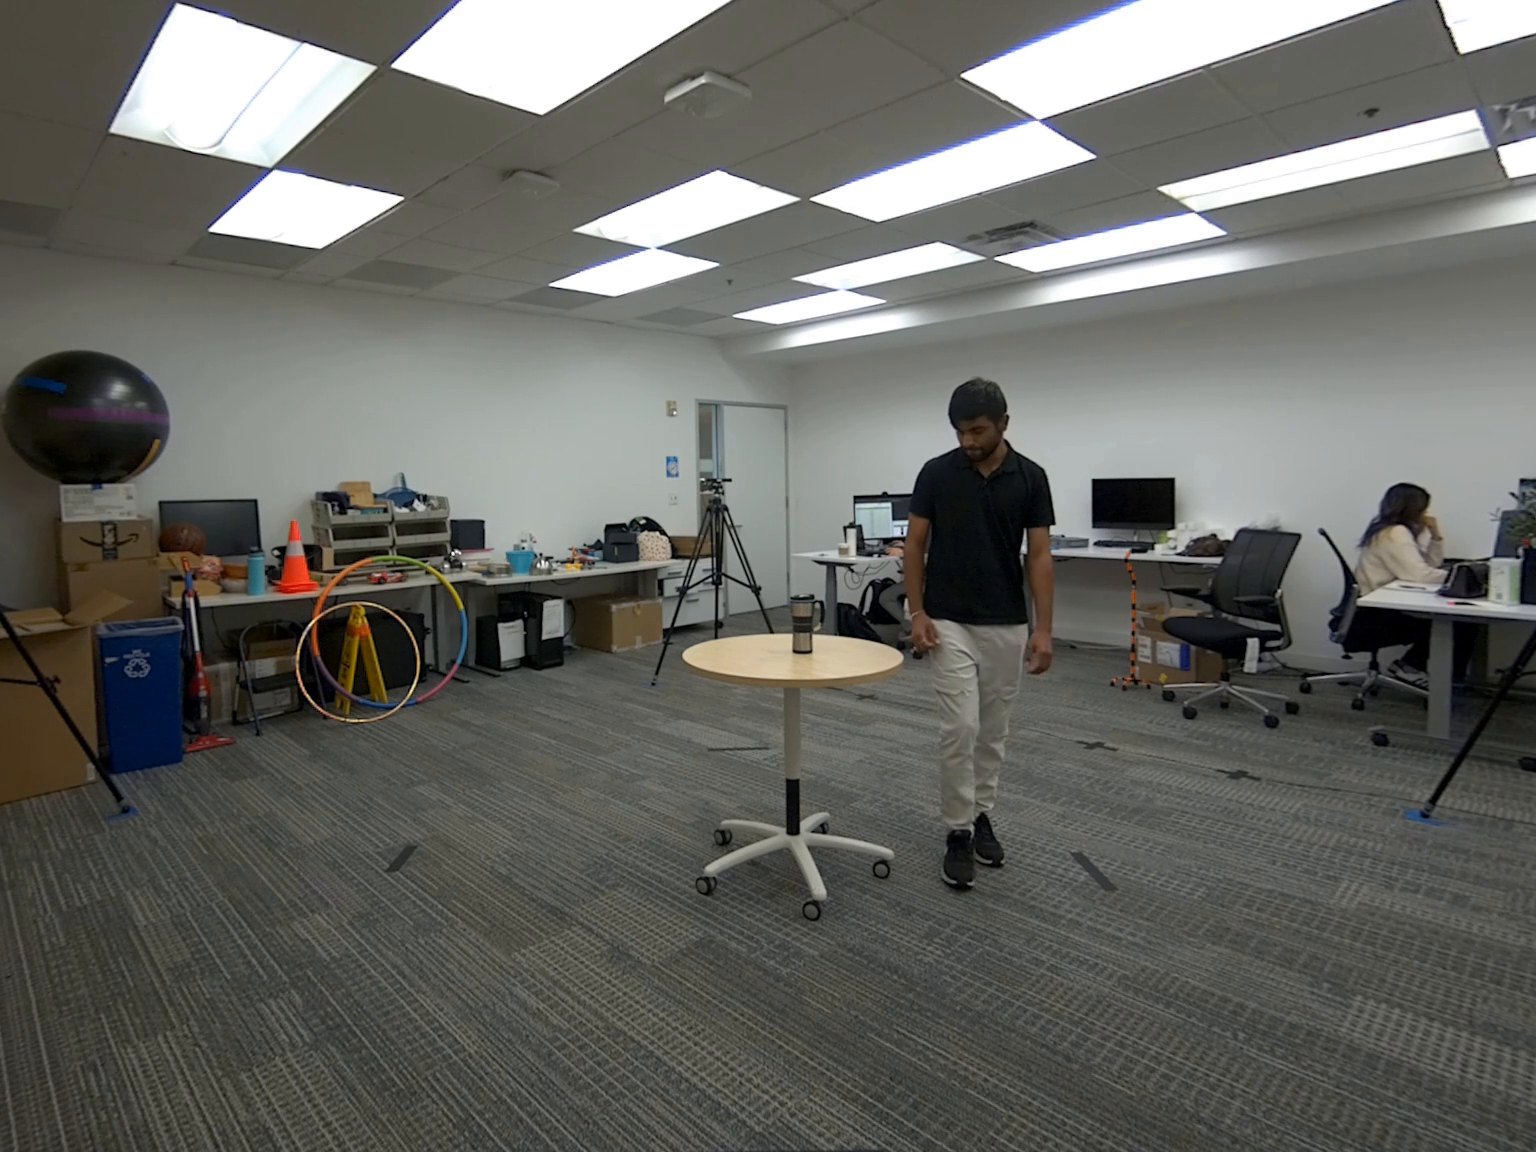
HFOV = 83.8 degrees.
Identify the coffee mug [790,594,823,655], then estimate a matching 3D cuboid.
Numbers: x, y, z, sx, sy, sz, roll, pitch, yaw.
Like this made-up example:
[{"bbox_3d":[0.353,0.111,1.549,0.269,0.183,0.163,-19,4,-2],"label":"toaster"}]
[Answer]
[{"bbox_3d":[0.148,0.172,2.995,0.125,0.203,0.086,0,-1,27],"label":"coffee mug"}]
